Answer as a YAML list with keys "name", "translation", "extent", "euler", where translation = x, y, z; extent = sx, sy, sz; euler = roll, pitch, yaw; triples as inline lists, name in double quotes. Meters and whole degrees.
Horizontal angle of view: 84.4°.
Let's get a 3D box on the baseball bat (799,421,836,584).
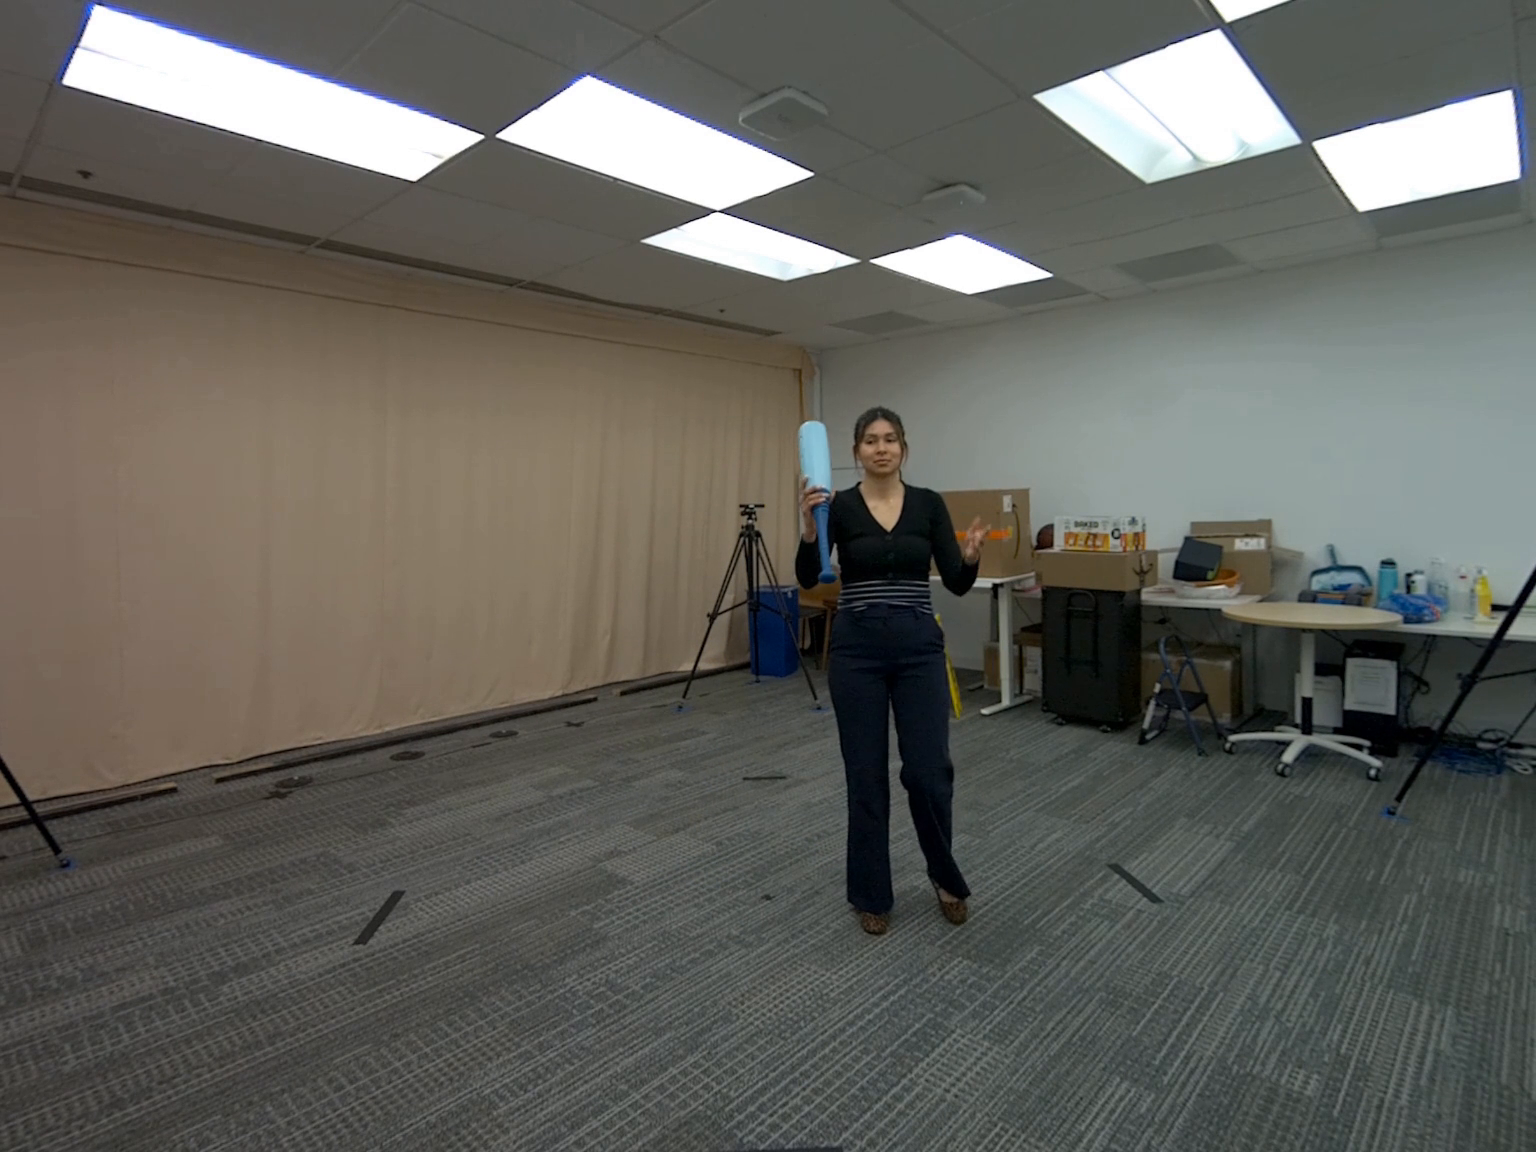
- name: "baseball bat"
  translation: [0.175, -0.217, 2.446]
  extent: [0.089, 0.551, 0.088]
  euler: [-1, -26, -2]
